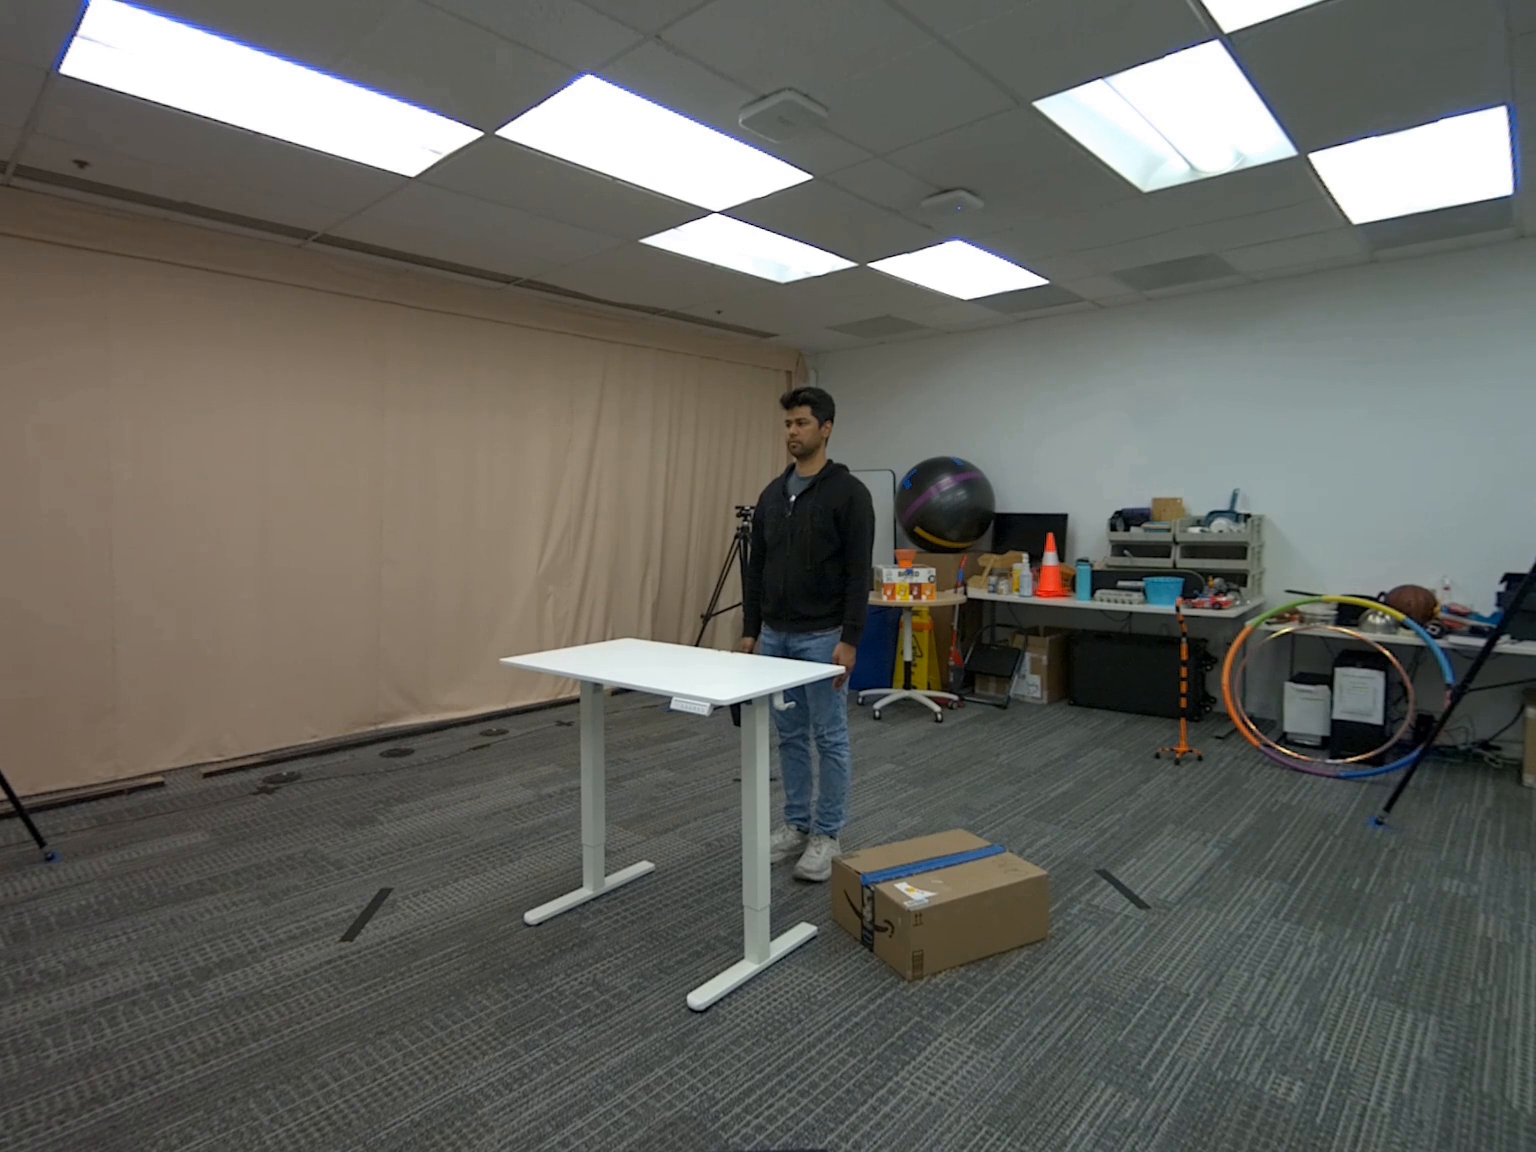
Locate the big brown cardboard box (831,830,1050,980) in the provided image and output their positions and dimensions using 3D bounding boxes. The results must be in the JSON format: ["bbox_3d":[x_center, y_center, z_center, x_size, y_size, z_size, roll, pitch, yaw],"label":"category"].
[{"bbox_3d":[0.561,1.051,2.758,0.574,0.232,0.429,-2,5,-27],"label":"big brown cardboard box"}]
